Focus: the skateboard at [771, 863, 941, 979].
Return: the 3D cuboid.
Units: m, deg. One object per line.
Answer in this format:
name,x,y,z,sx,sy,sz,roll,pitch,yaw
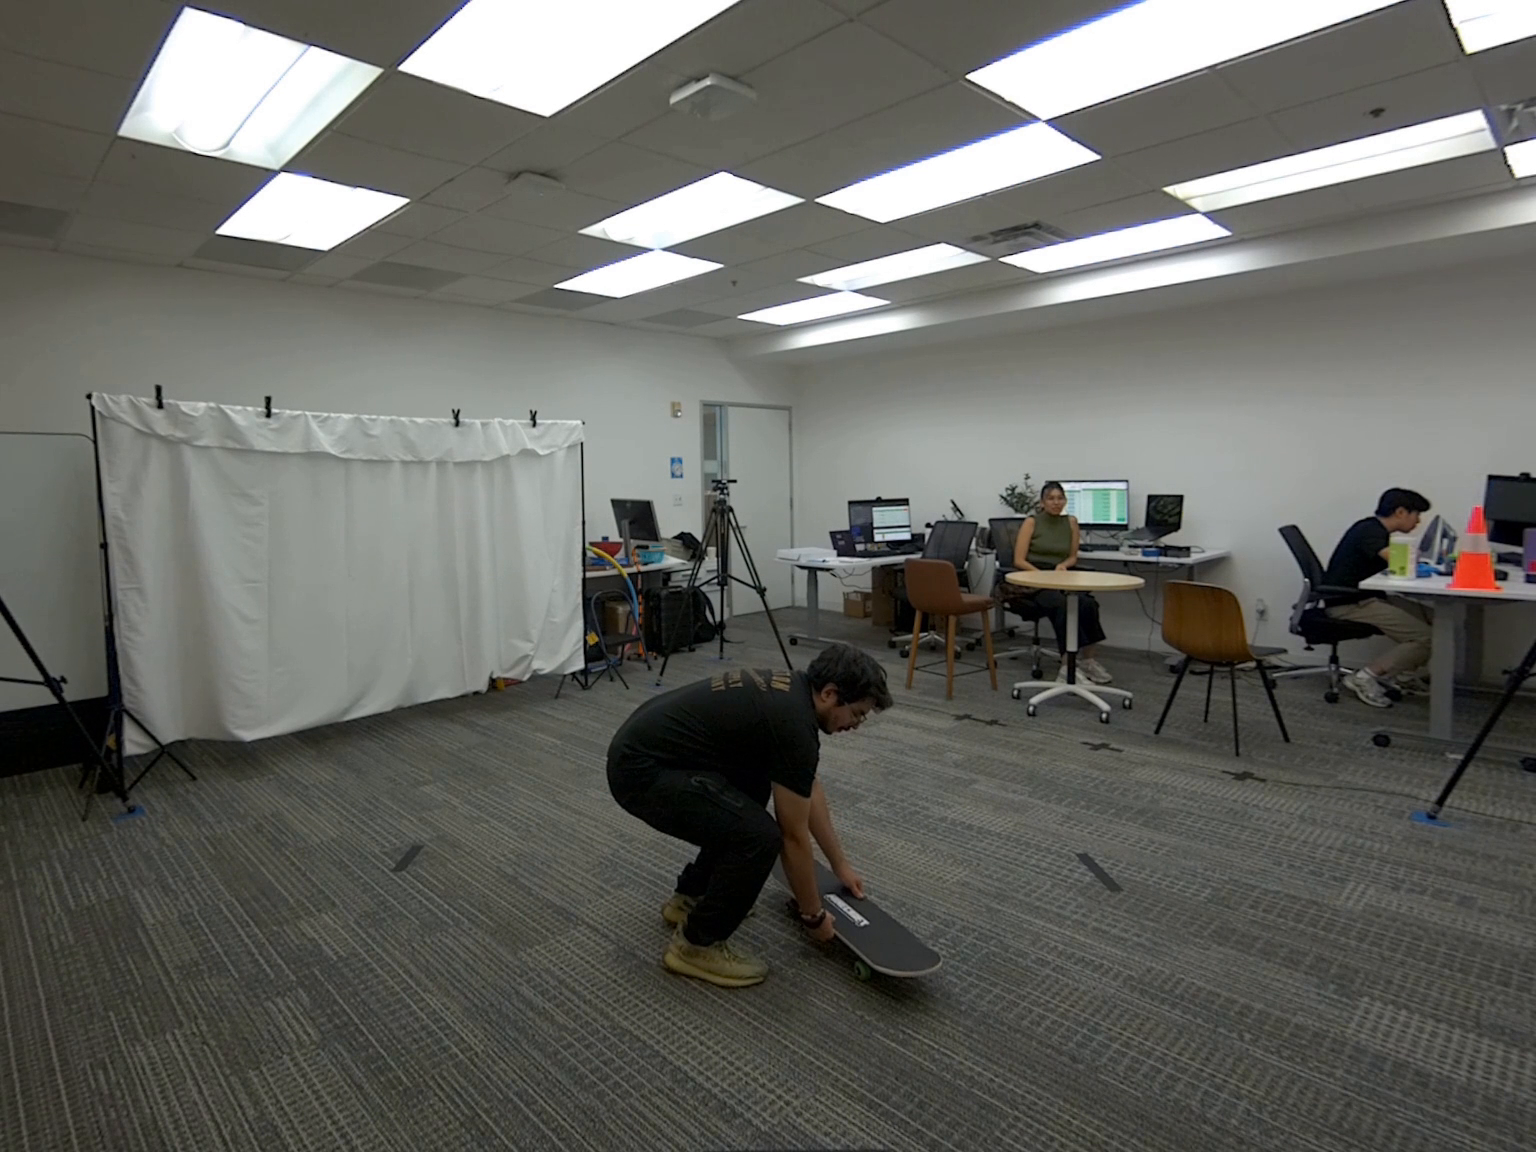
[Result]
skateboard,0.241,1.036,2.600,0.189,0.110,0.805,-3,7,-26
